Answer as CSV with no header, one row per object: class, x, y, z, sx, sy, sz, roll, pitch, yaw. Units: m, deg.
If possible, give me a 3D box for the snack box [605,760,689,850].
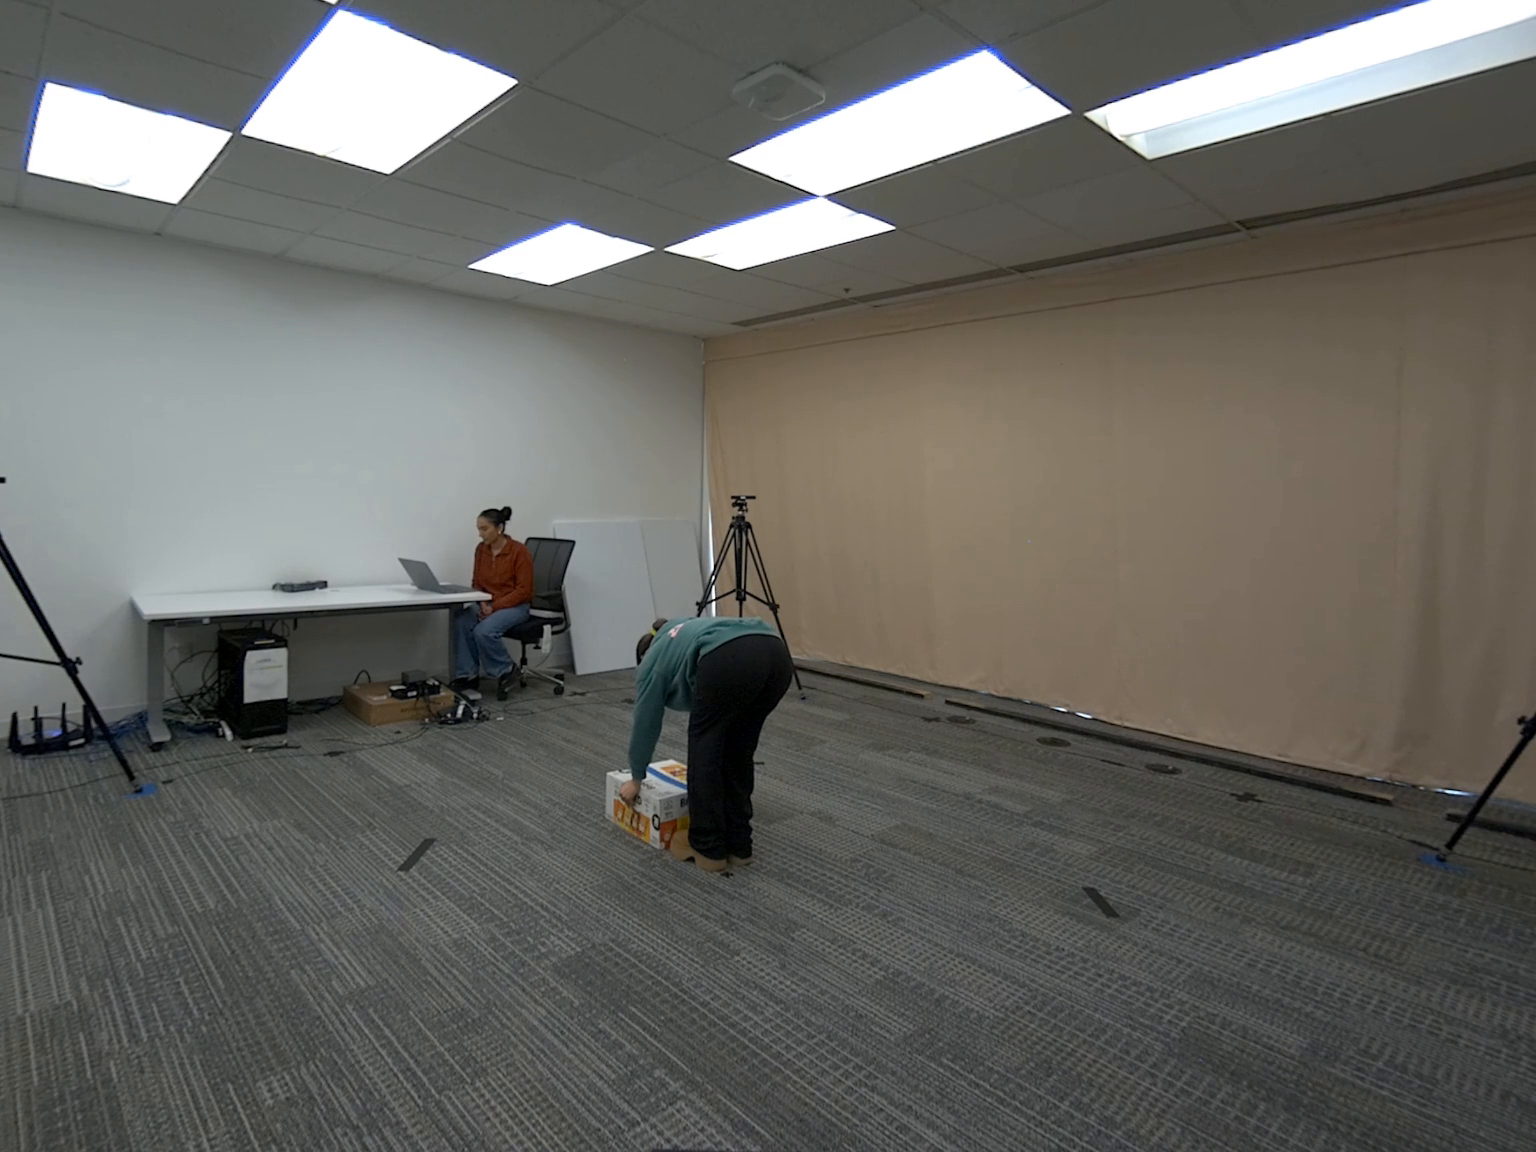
snack box,-0.443,0.957,3.559,0.332,0.205,0.415,-2,6,-40
